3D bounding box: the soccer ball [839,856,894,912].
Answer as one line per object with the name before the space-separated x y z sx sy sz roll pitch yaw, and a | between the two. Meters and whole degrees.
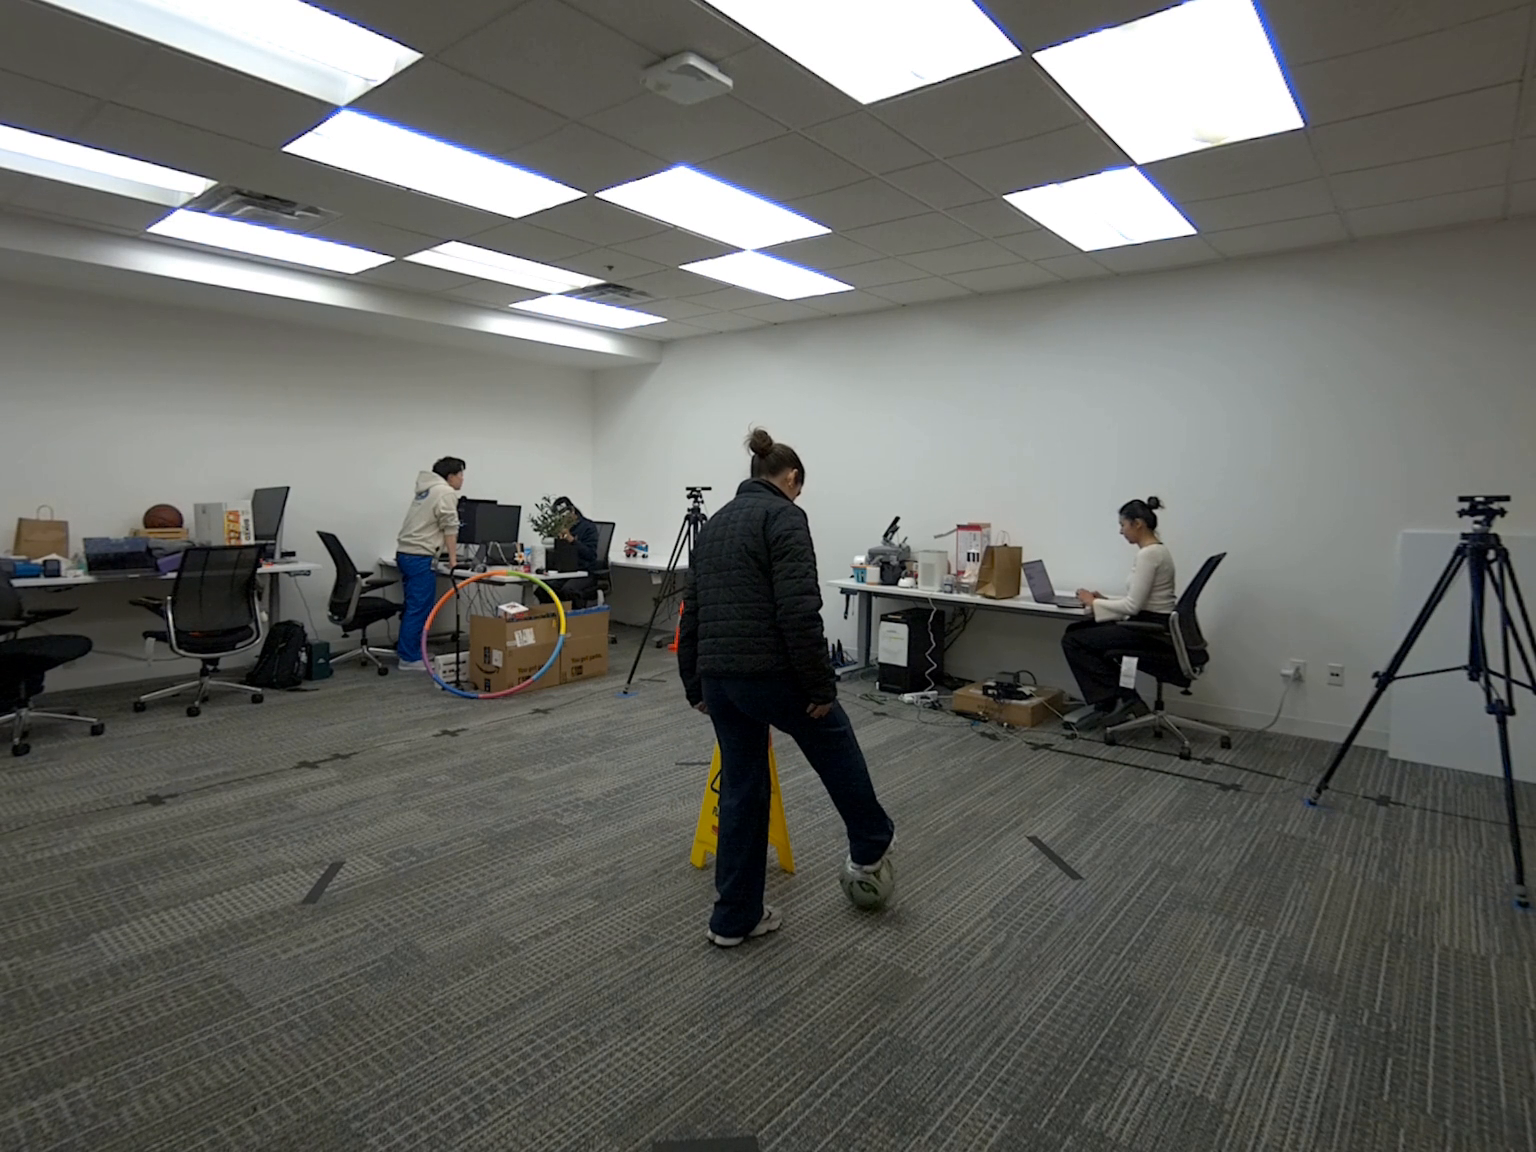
soccer ball | 0.329 1.008 2.851 0.187 0.187 0.188 1 4 -2
